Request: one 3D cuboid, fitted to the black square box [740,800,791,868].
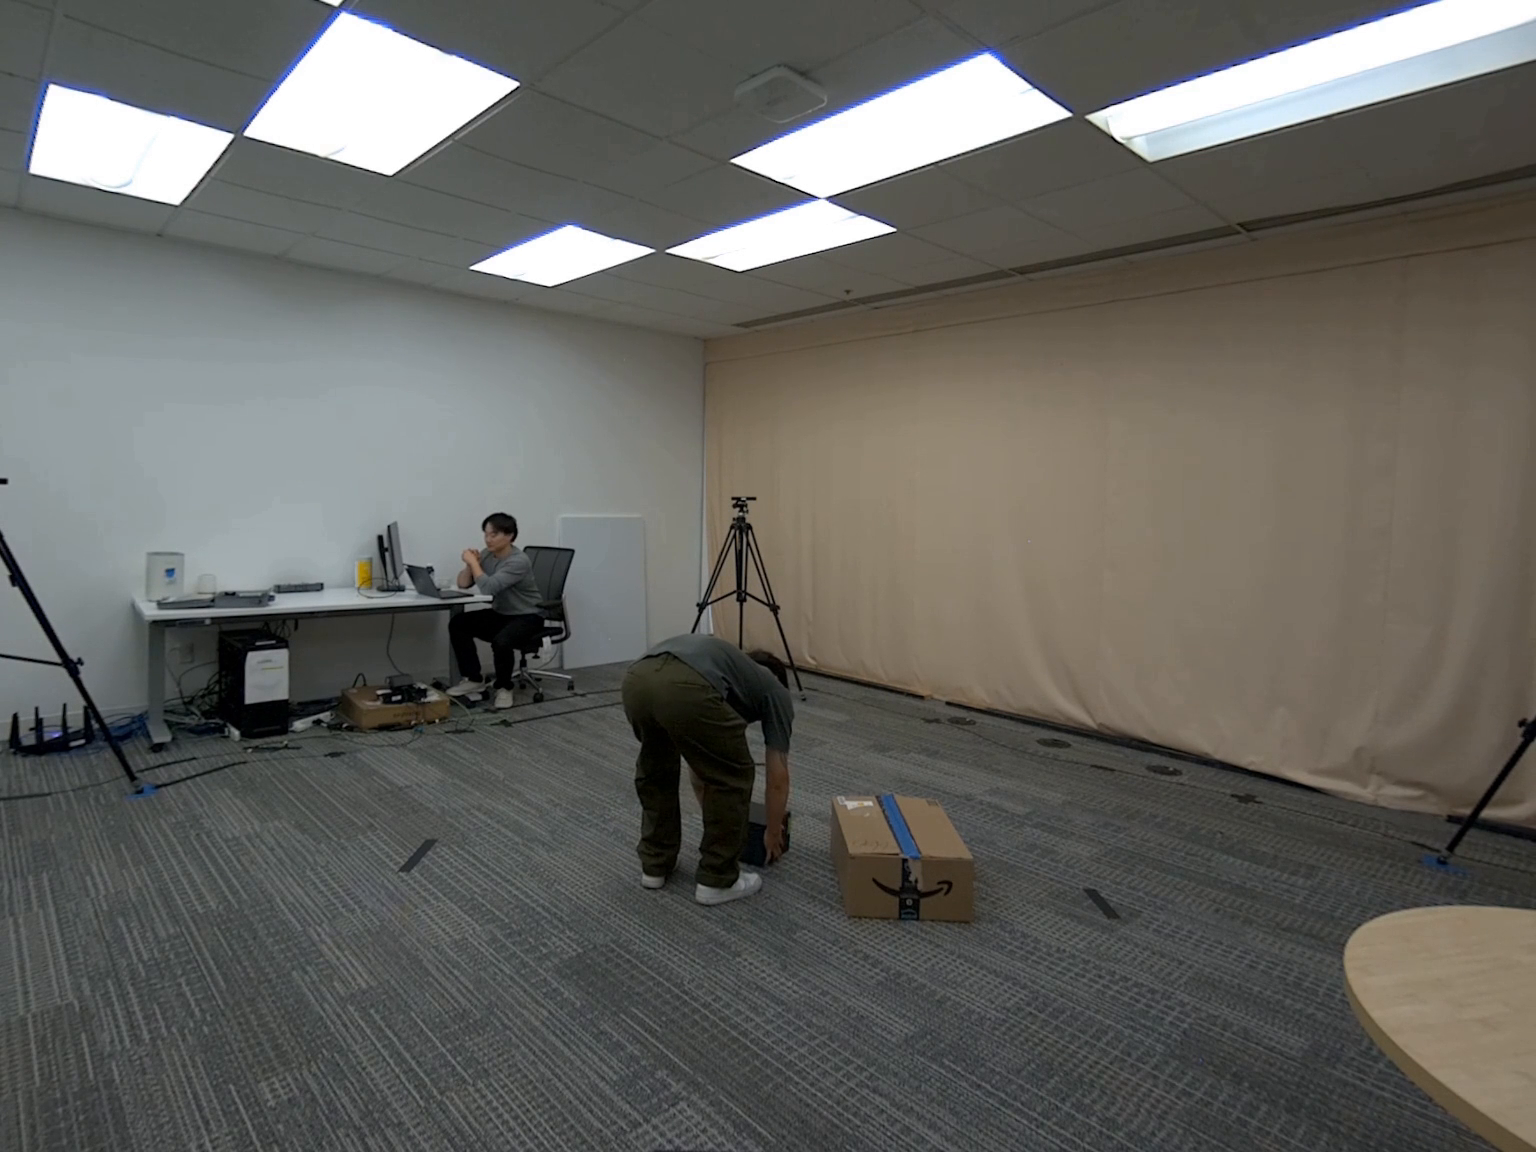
[{"bbox_3d":[-0.064,1.008,3.317,0.233,0.156,0.212,4,2,31],"label":"black square box"}]
